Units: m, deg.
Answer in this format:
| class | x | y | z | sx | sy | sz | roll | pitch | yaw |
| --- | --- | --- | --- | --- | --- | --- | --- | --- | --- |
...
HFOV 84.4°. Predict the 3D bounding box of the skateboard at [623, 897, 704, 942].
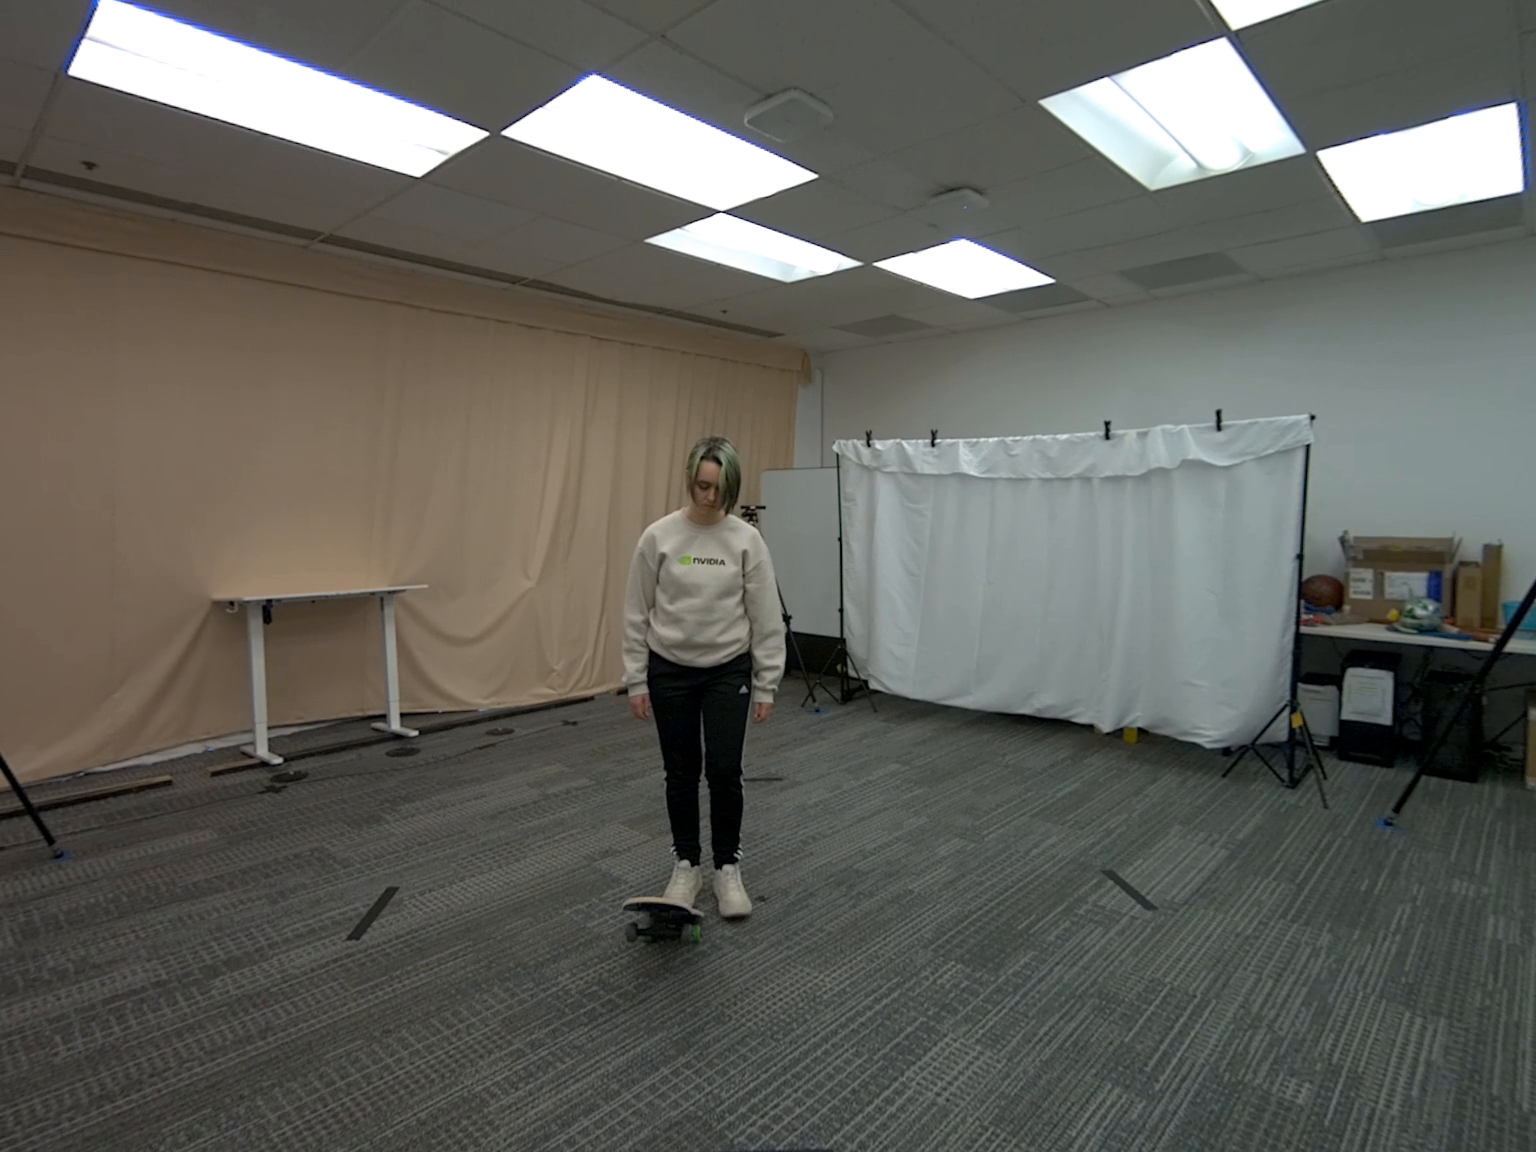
| class | x | y | z | sx | sy | sz | roll | pitch | yaw |
| --- | --- | --- | --- | --- | --- | --- | --- | --- | --- |
| skateboard | -0.315 | 1.044 | 2.528 | 0.194 | 0.112 | 0.774 | 2 | -23 | 0 |
